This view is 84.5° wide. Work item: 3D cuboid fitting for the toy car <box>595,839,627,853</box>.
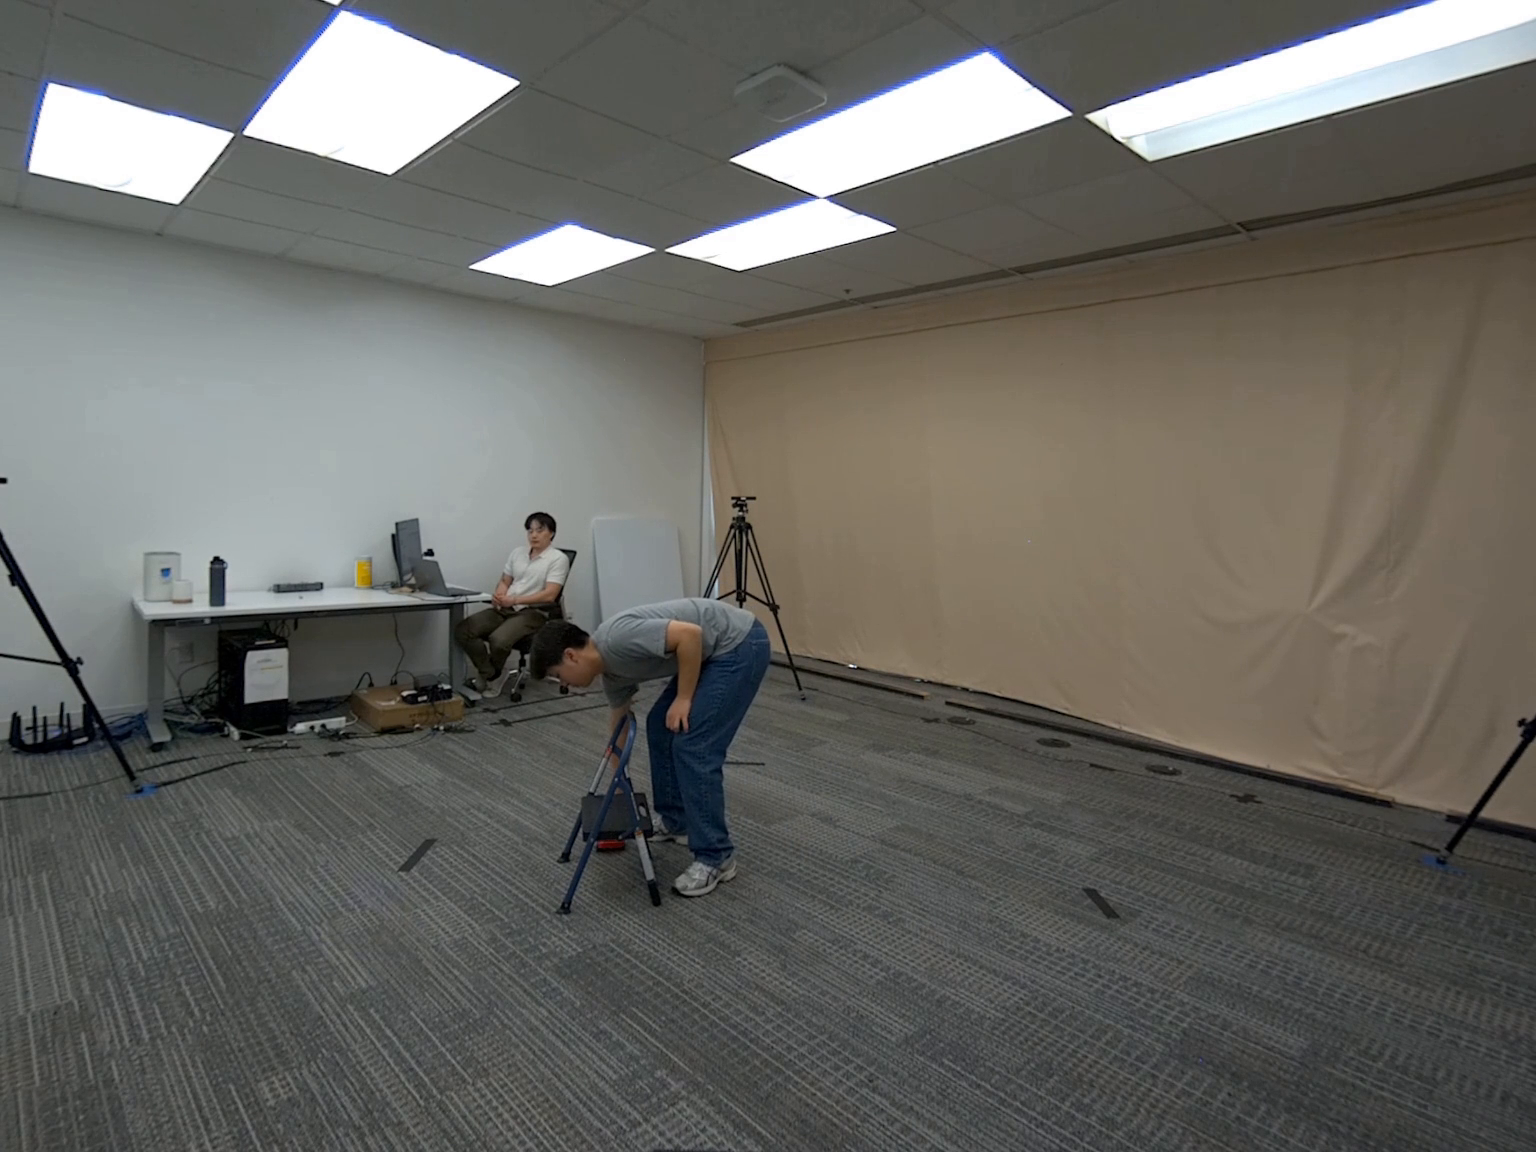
[{"bbox_3d":[-0.641,1.041,3.390,0.129,0.082,0.259,1,14,-11],"label":"toy car"}]
